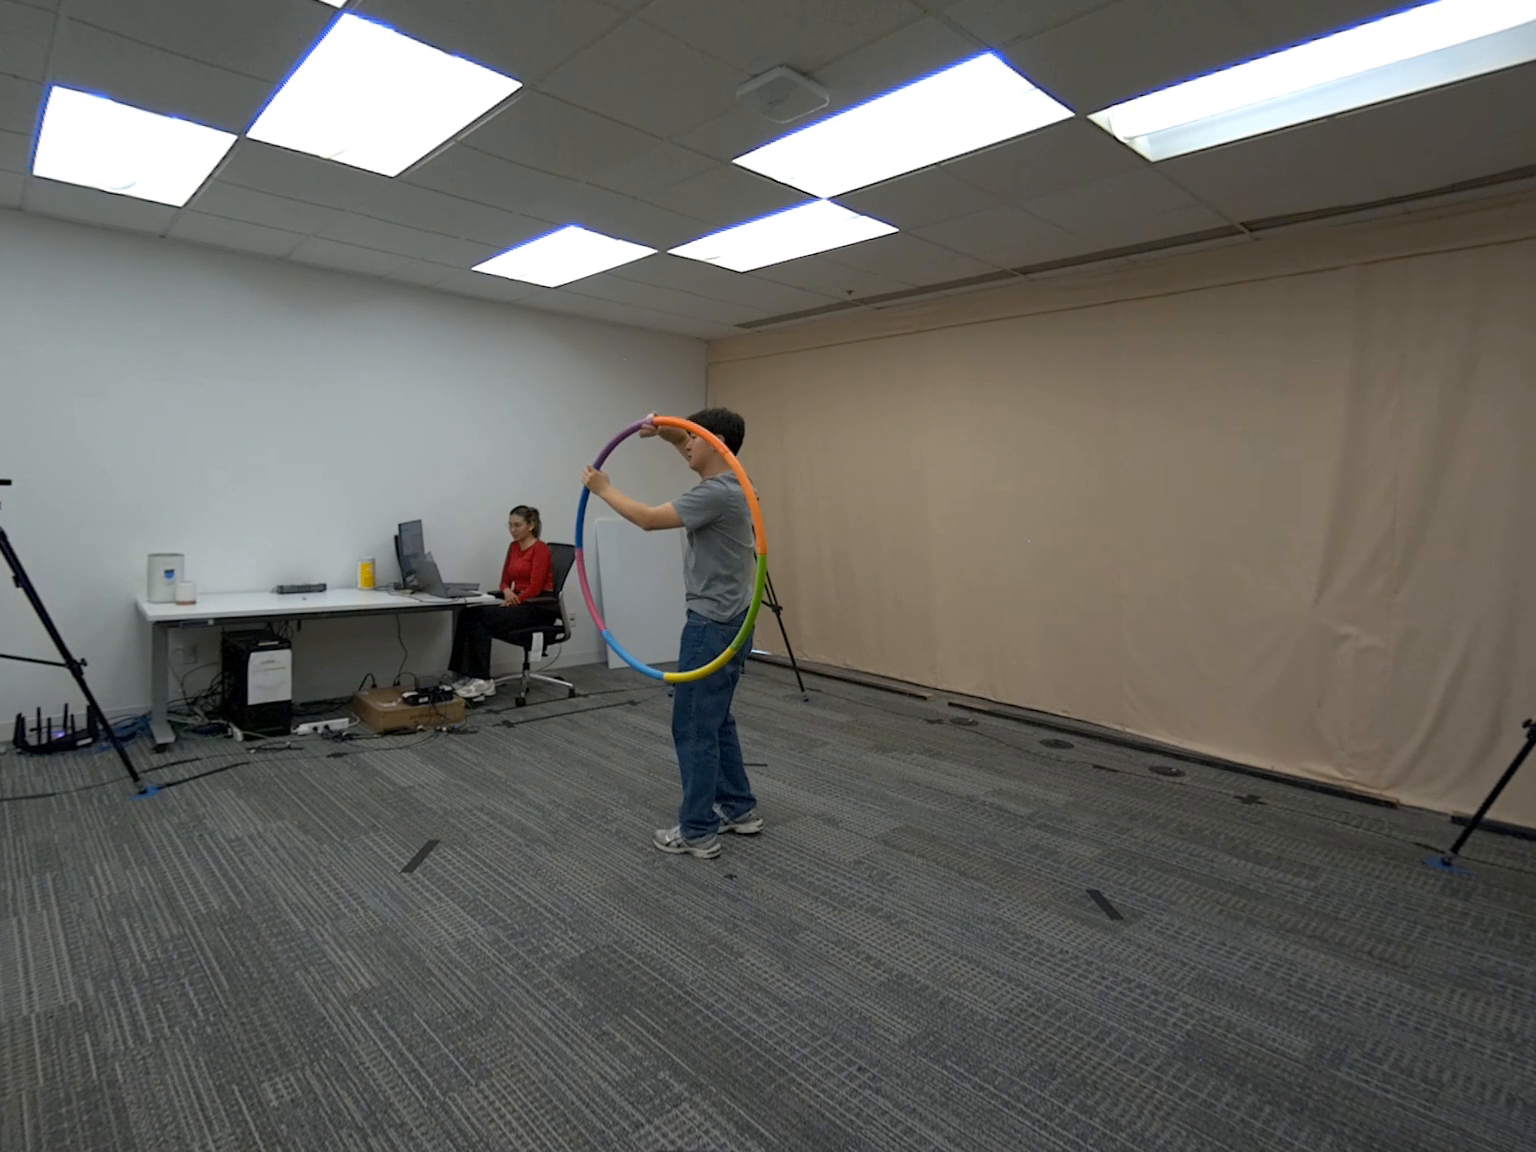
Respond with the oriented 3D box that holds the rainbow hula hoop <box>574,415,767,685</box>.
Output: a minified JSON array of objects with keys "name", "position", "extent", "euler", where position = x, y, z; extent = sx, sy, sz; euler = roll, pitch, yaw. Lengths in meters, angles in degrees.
[{"name":"rainbow hula hoop","position":[-0.398,-0.107,3.150],"extent":[1.003,0.974,0.035],"euler":[5,8,39]}]
